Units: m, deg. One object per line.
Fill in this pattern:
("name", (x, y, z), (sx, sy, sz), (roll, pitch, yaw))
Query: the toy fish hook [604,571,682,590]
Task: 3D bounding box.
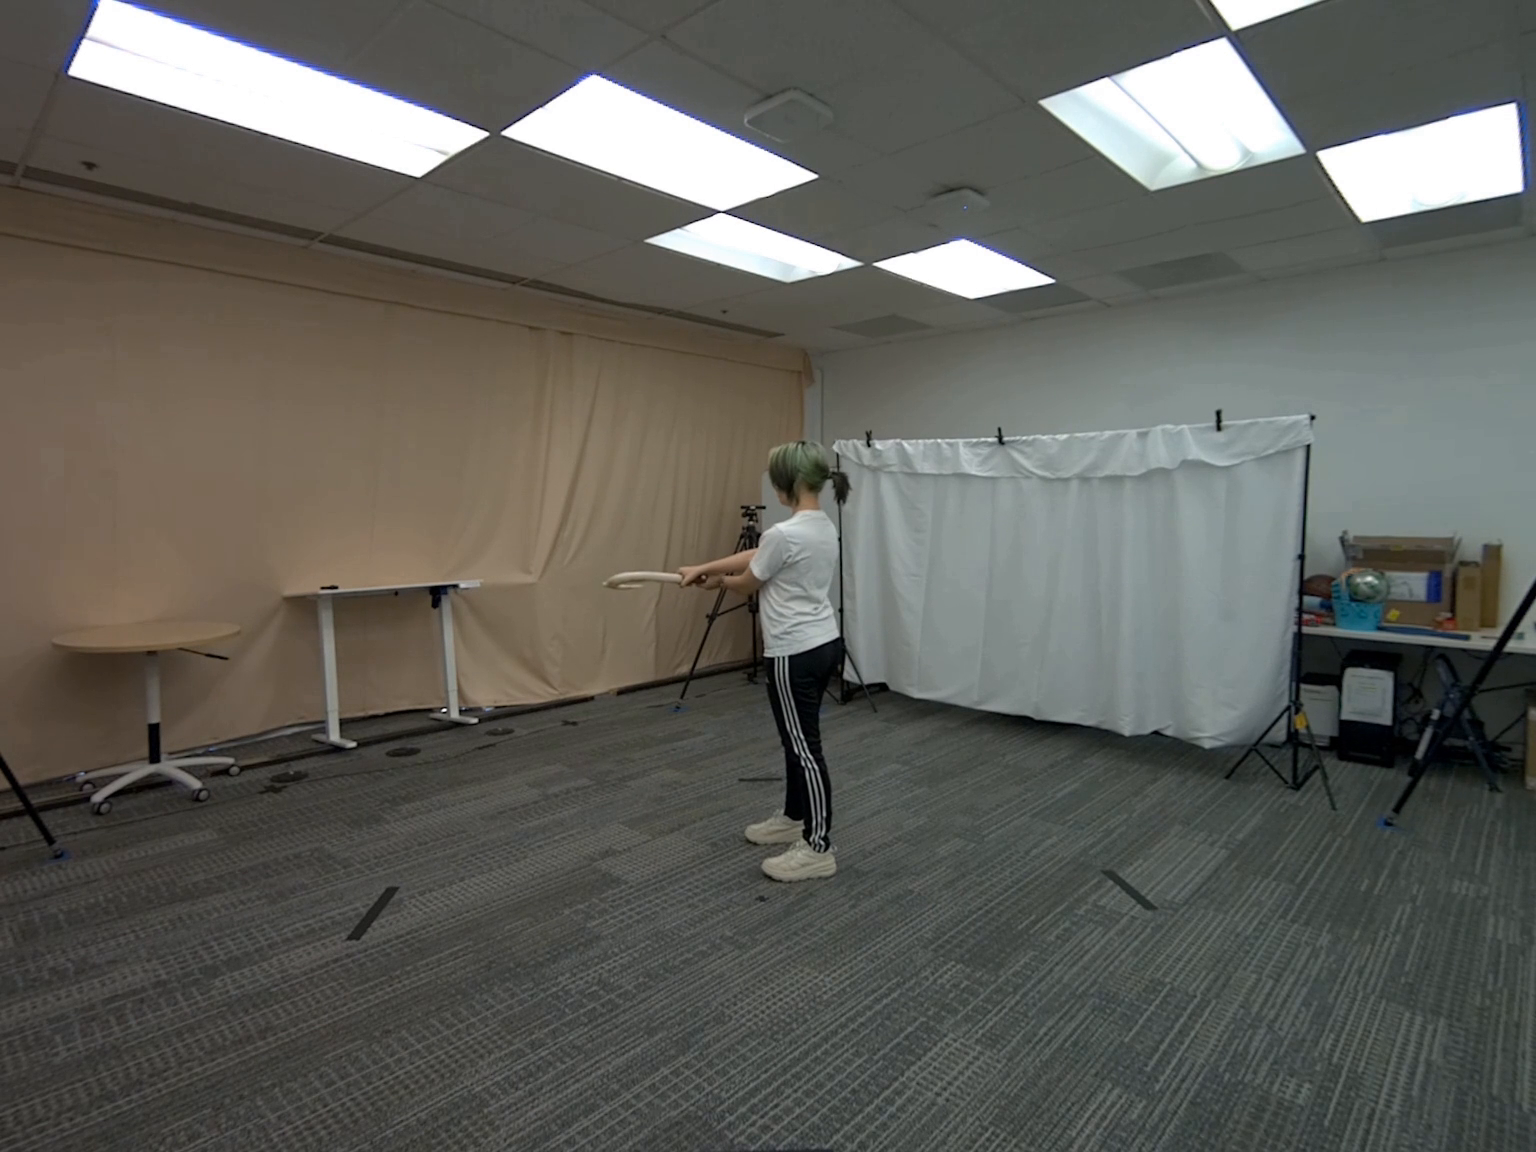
("toy fish hook", (-0.423, 0.025, 3.475), (0.493, 0.049, 0.229), (2, -13, -29))
